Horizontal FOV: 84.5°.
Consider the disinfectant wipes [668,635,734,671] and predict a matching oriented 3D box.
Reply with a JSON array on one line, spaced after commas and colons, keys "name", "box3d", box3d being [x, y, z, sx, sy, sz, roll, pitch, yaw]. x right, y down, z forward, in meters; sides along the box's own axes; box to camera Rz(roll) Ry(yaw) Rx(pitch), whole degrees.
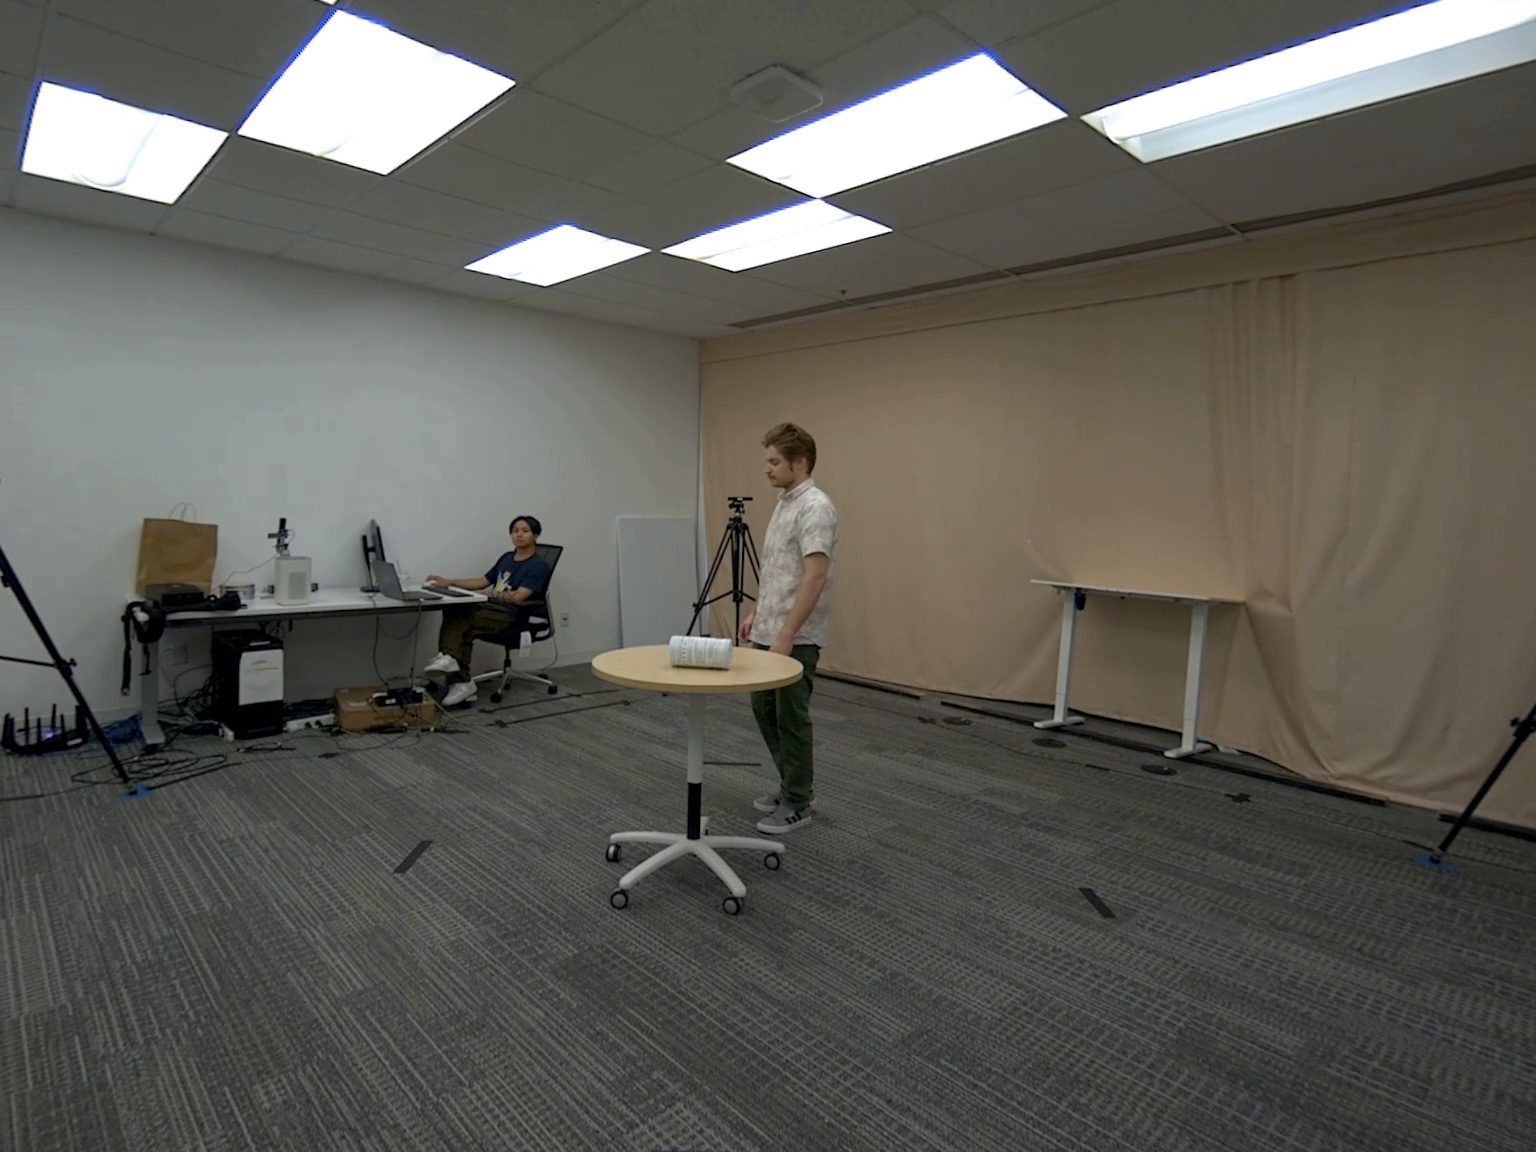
[{"name": "disinfectant wipes", "box3d": [-0.241, 0.270, 2.969, 0.219, 0.117, 0.117, 2, 4, 6]}]
